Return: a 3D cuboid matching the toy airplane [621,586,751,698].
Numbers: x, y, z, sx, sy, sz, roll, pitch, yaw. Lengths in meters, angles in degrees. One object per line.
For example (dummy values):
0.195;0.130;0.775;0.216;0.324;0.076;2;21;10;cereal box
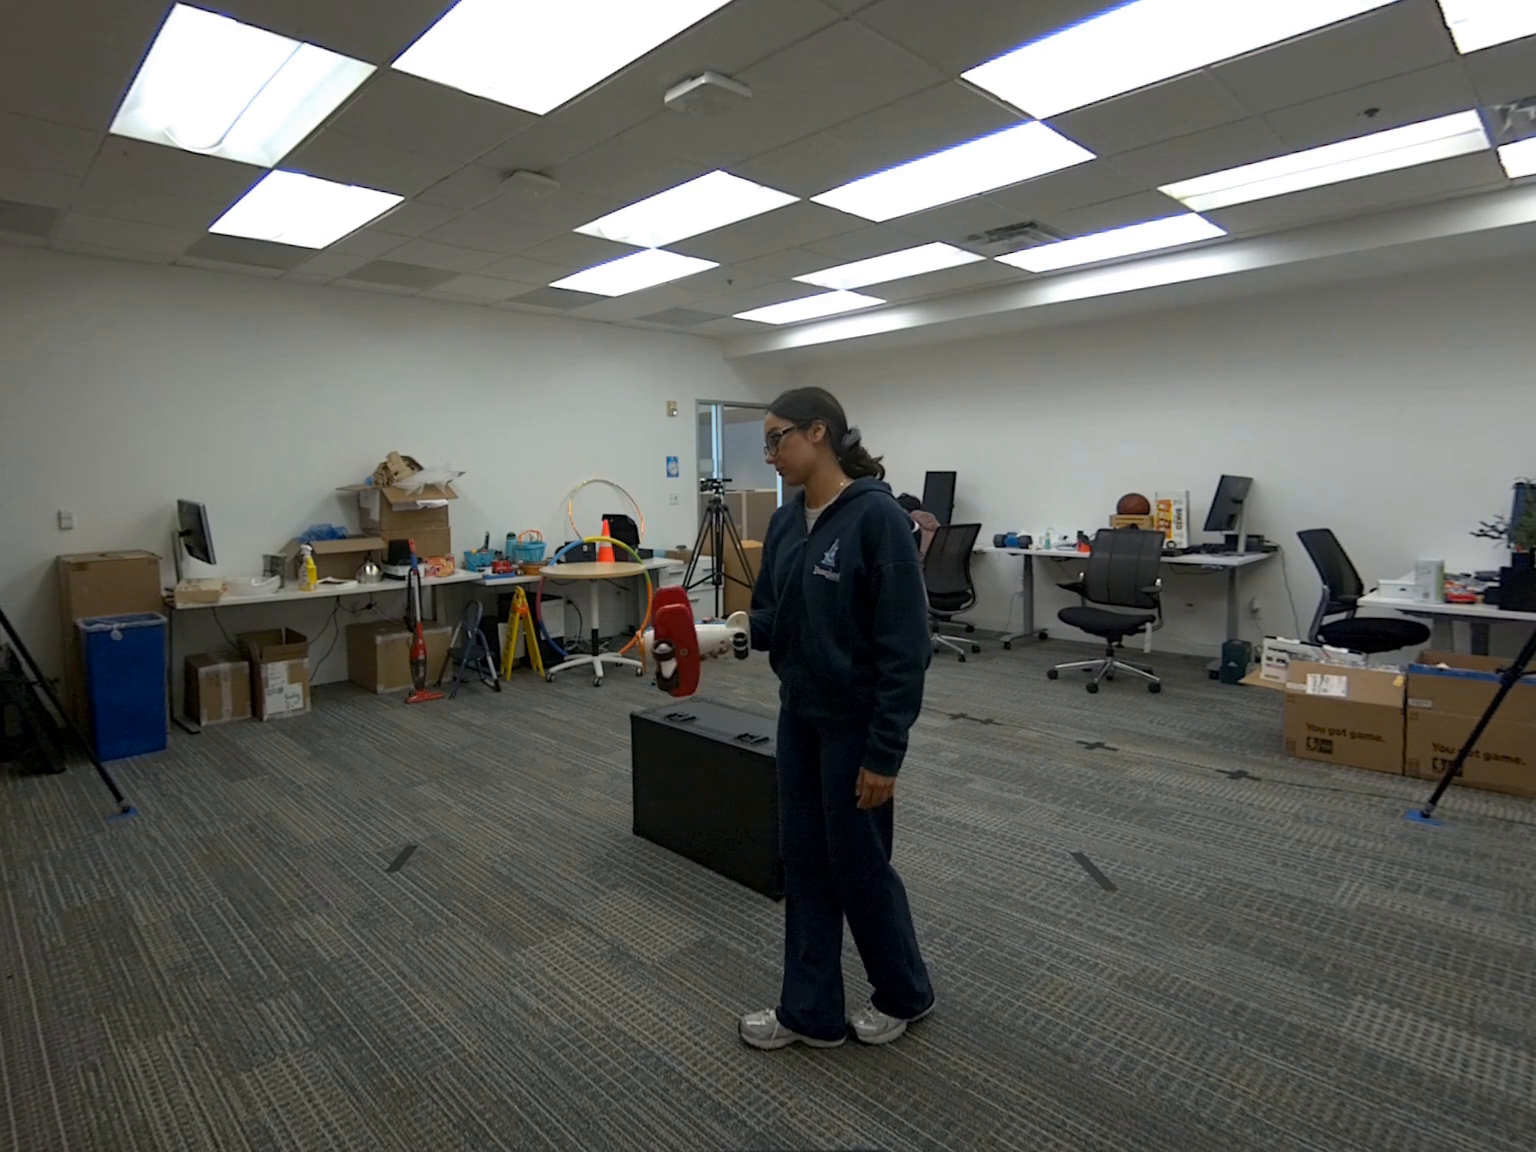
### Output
-0.163;0.171;1.964;0.252;0.249;0.162;13;20;-29;toy airplane
